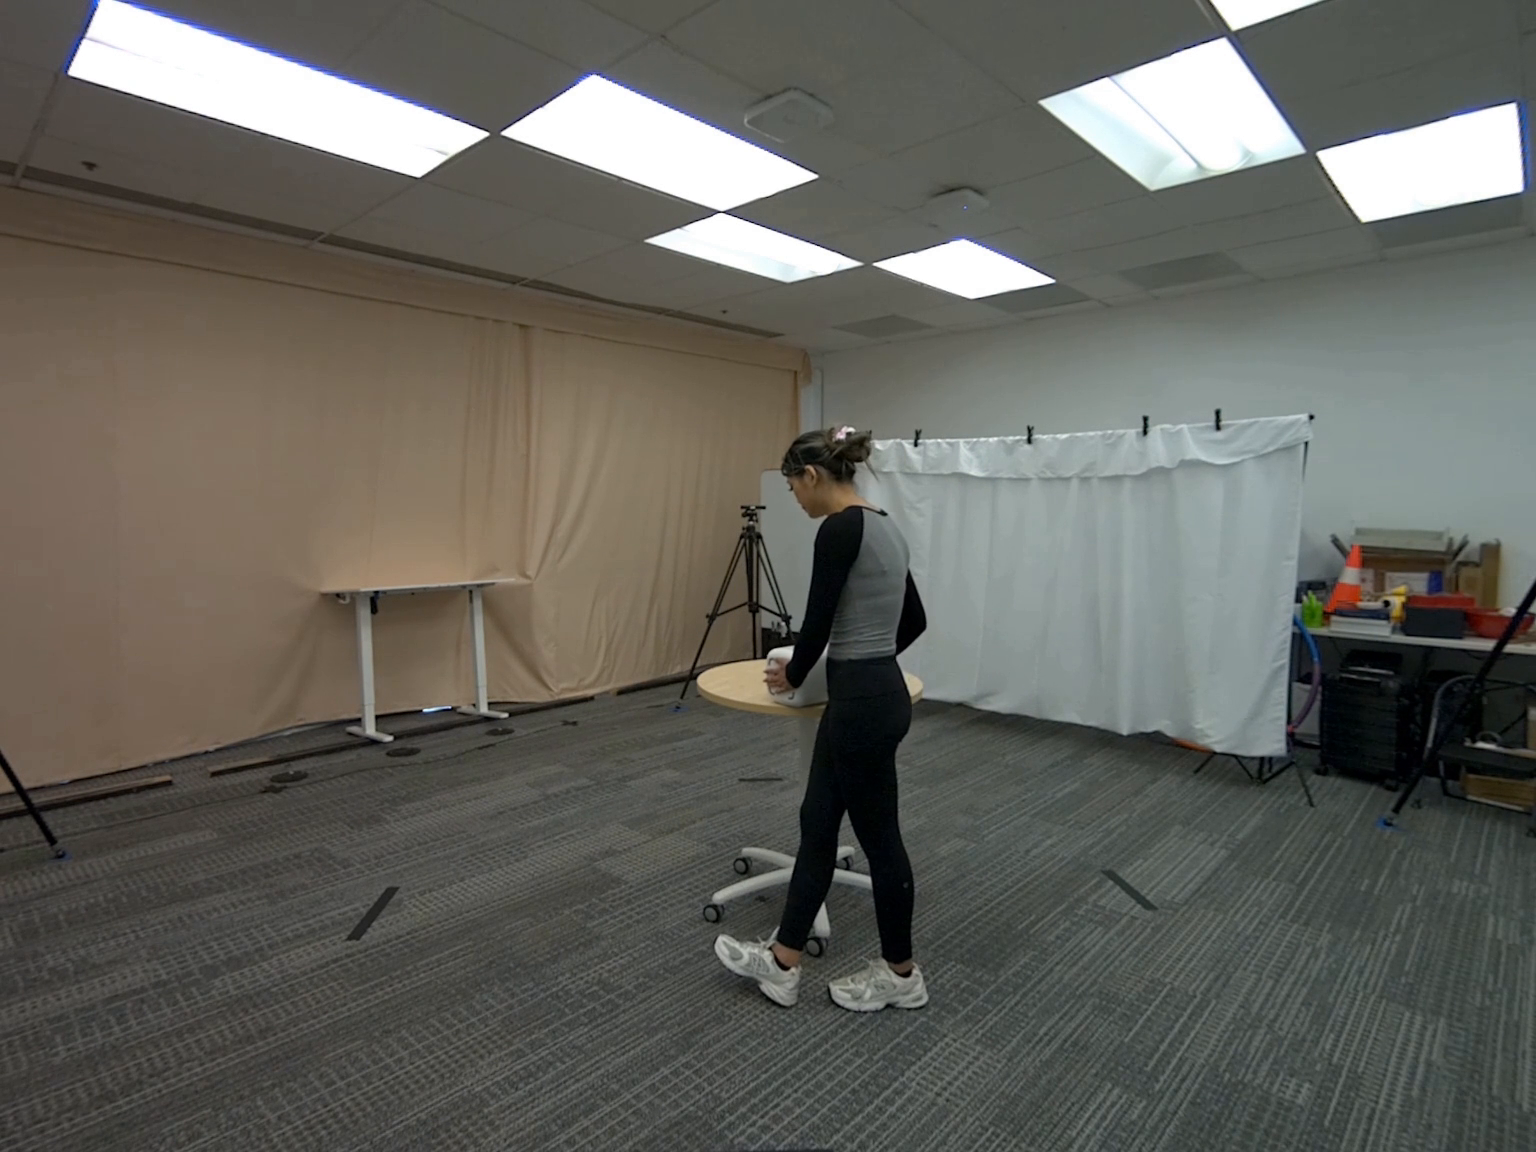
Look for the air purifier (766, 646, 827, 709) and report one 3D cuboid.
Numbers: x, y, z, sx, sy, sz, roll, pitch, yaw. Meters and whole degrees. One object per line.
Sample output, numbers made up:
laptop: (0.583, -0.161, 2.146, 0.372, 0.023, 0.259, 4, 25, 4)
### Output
air purifier: (0.134, 0.300, 2.599, 0.257, 0.171, 0.177, -4, 7, -40)
